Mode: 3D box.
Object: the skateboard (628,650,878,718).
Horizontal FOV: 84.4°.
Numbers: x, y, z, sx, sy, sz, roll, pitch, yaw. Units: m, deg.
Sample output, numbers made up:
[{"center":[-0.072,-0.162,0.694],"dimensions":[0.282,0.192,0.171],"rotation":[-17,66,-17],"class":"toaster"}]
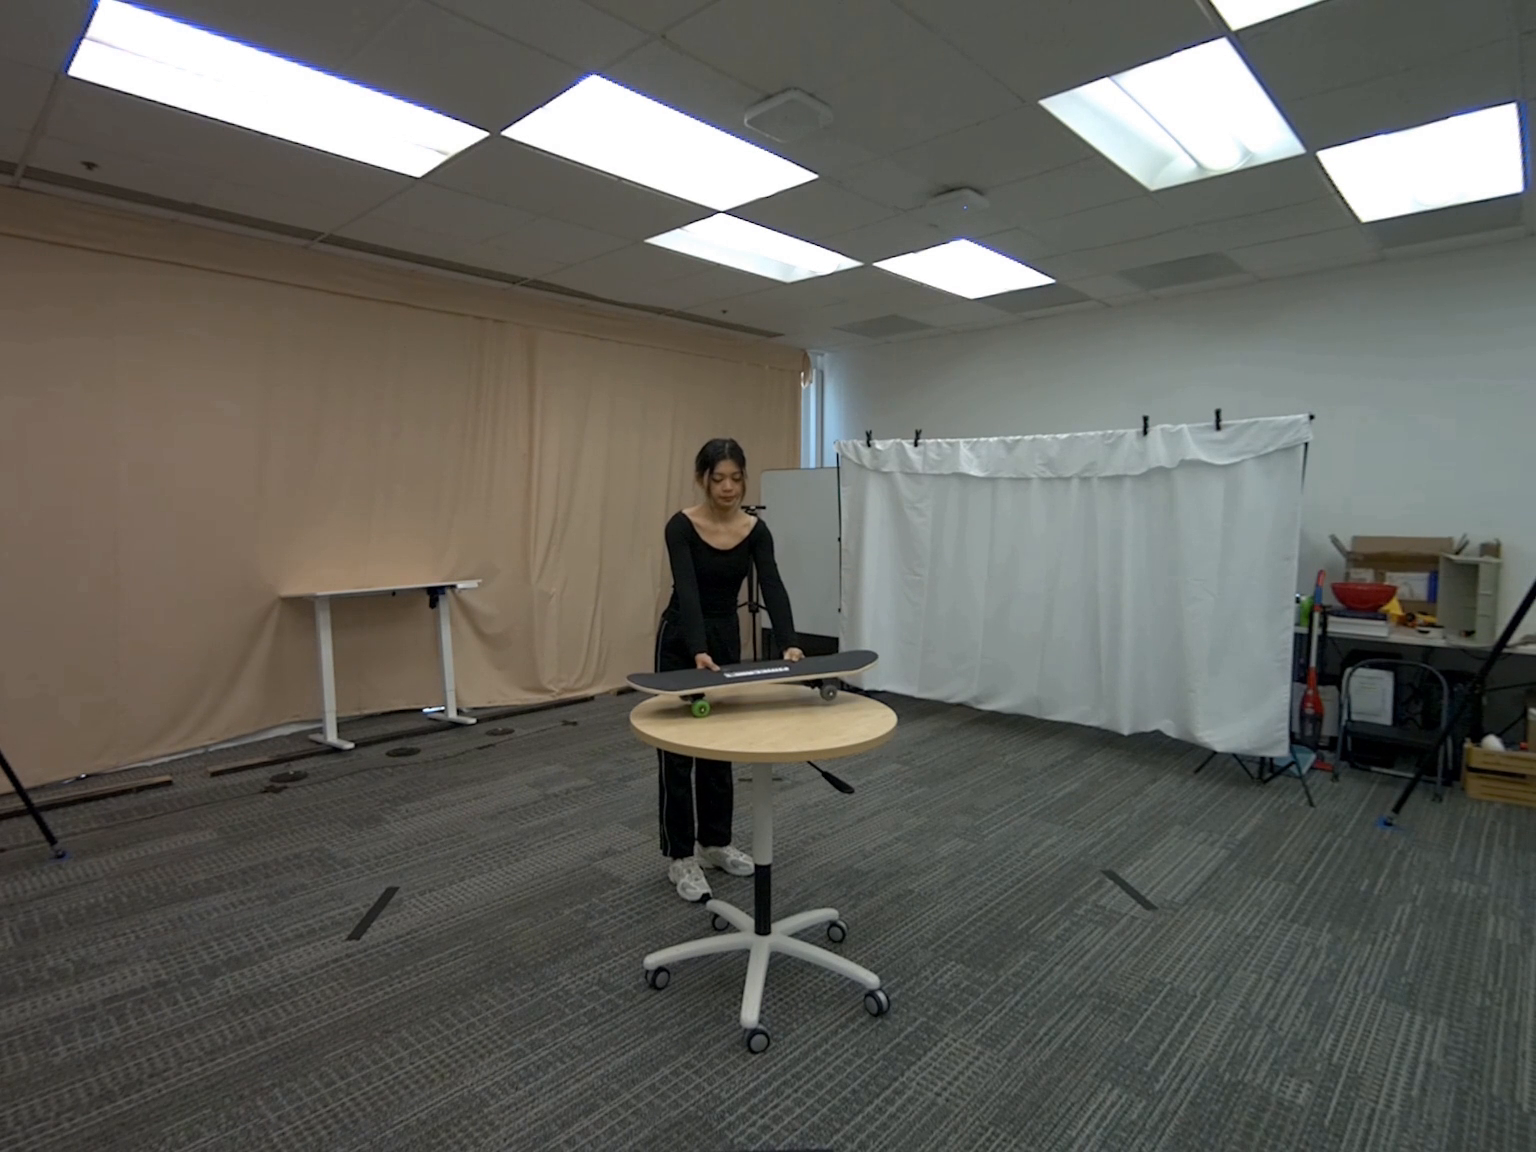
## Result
[{"center":[-0.032,0.323,2.517],"dimensions":[0.772,0.109,0.198],"rotation":[-4,11,-17],"class":"skateboard"}]
